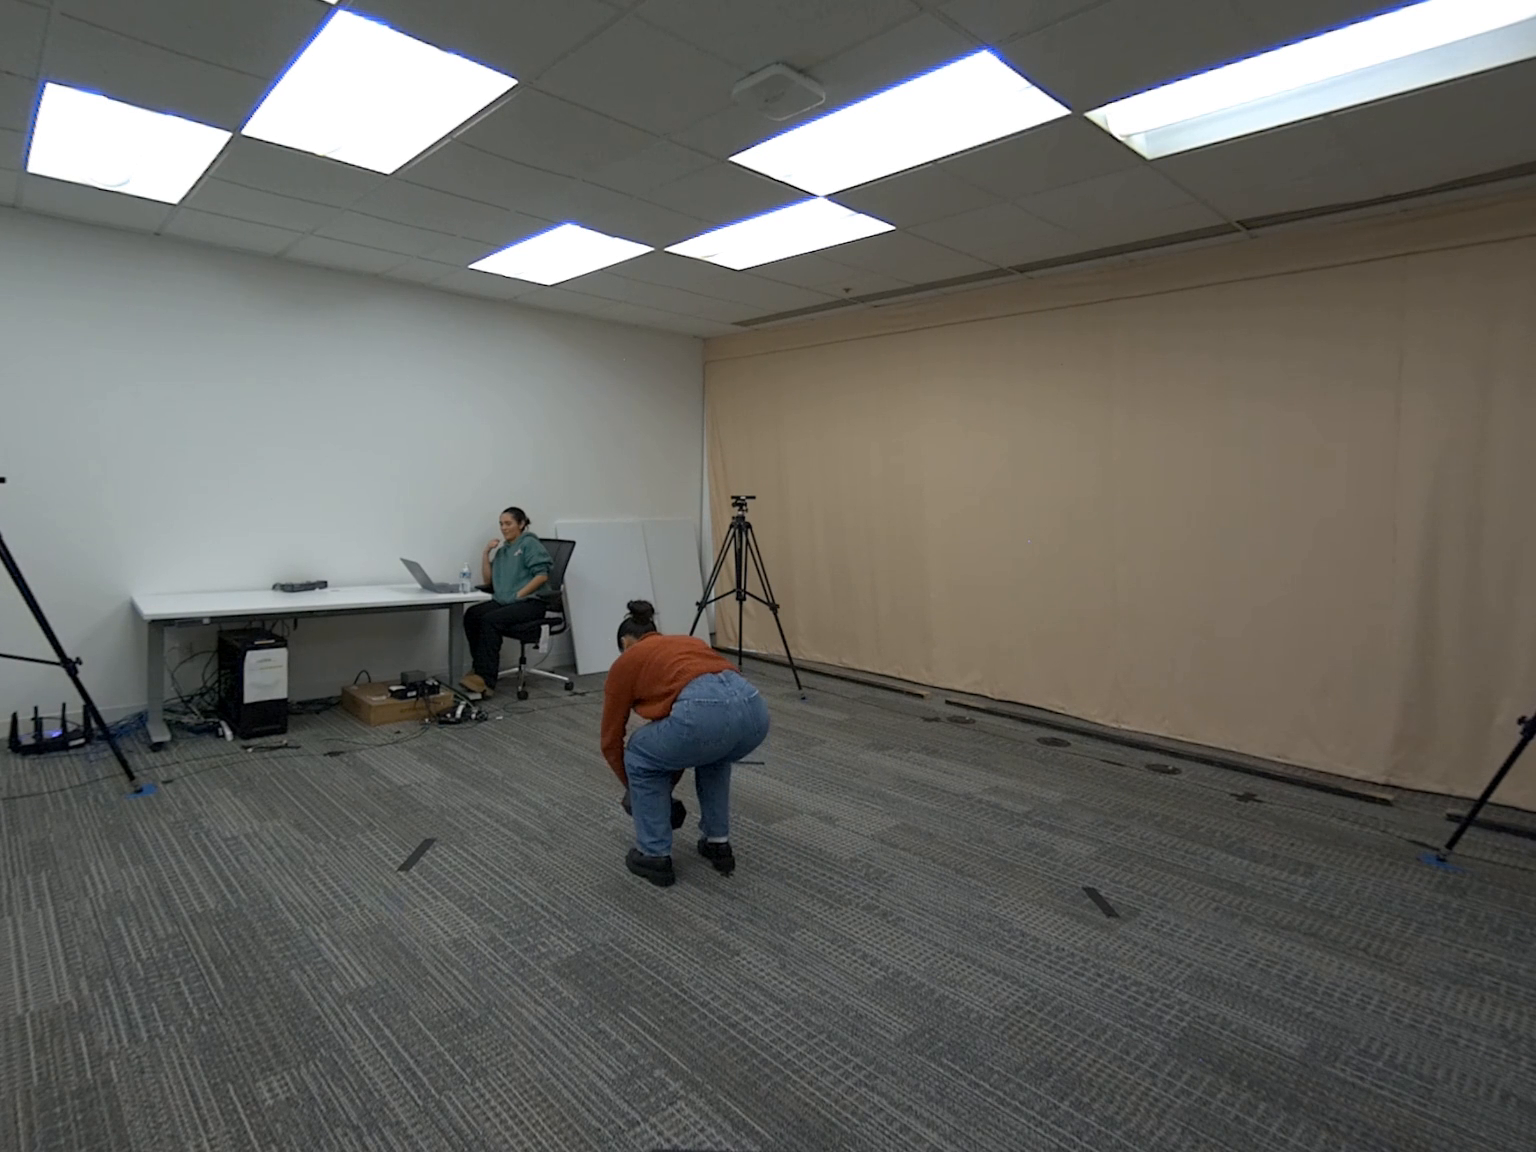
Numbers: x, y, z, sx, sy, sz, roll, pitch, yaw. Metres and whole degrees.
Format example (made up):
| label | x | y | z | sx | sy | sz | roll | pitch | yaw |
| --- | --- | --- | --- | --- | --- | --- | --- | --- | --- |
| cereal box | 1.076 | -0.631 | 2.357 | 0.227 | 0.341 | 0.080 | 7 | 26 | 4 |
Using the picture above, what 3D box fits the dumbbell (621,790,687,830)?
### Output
| label | x | y | z | sx | sy | sz | roll | pitch | yaw |
| --- | --- | --- | --- | --- | --- | --- | --- | --- | --- |
| dumbbell | -0.450 | 0.905 | 3.329 | 0.120 | 0.108 | 0.301 | -3 | 6 | -44 |
